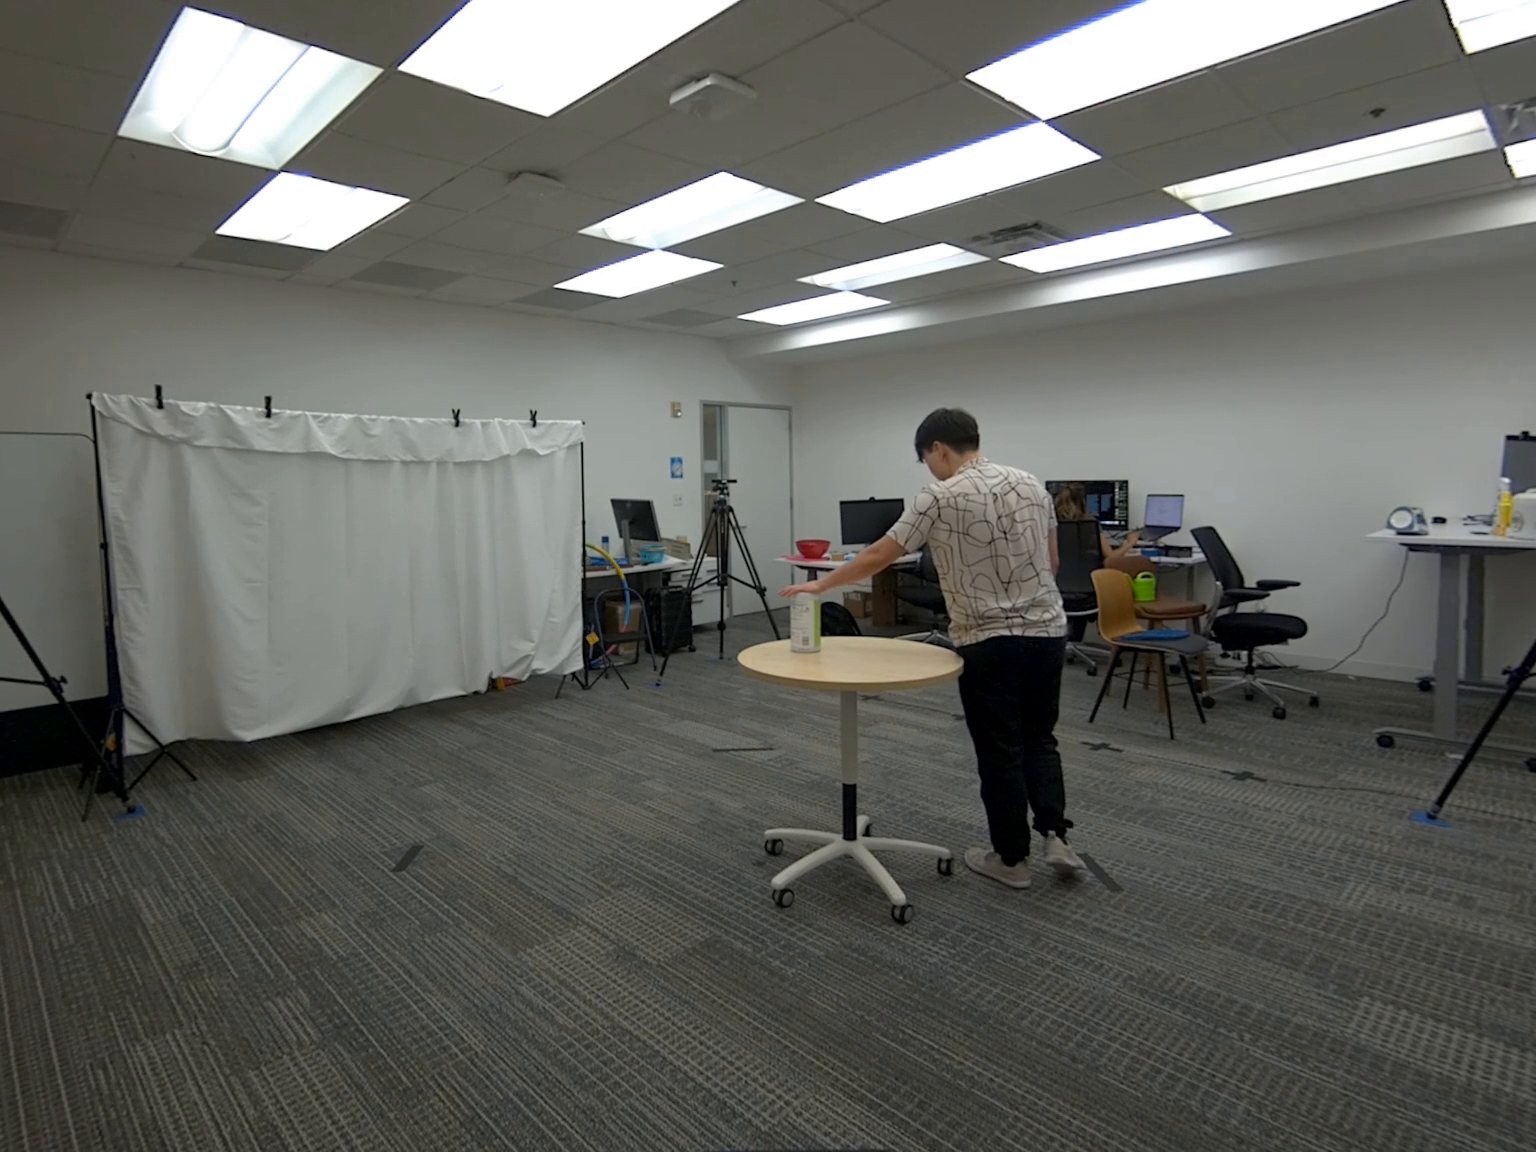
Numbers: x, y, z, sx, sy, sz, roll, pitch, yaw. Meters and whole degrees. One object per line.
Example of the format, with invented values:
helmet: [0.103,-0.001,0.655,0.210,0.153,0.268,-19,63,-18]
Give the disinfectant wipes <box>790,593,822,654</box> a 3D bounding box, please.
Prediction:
disinfectant wipes: [0.139,0.163,3.067,0.118,0.217,0.118,1,2,-2]
